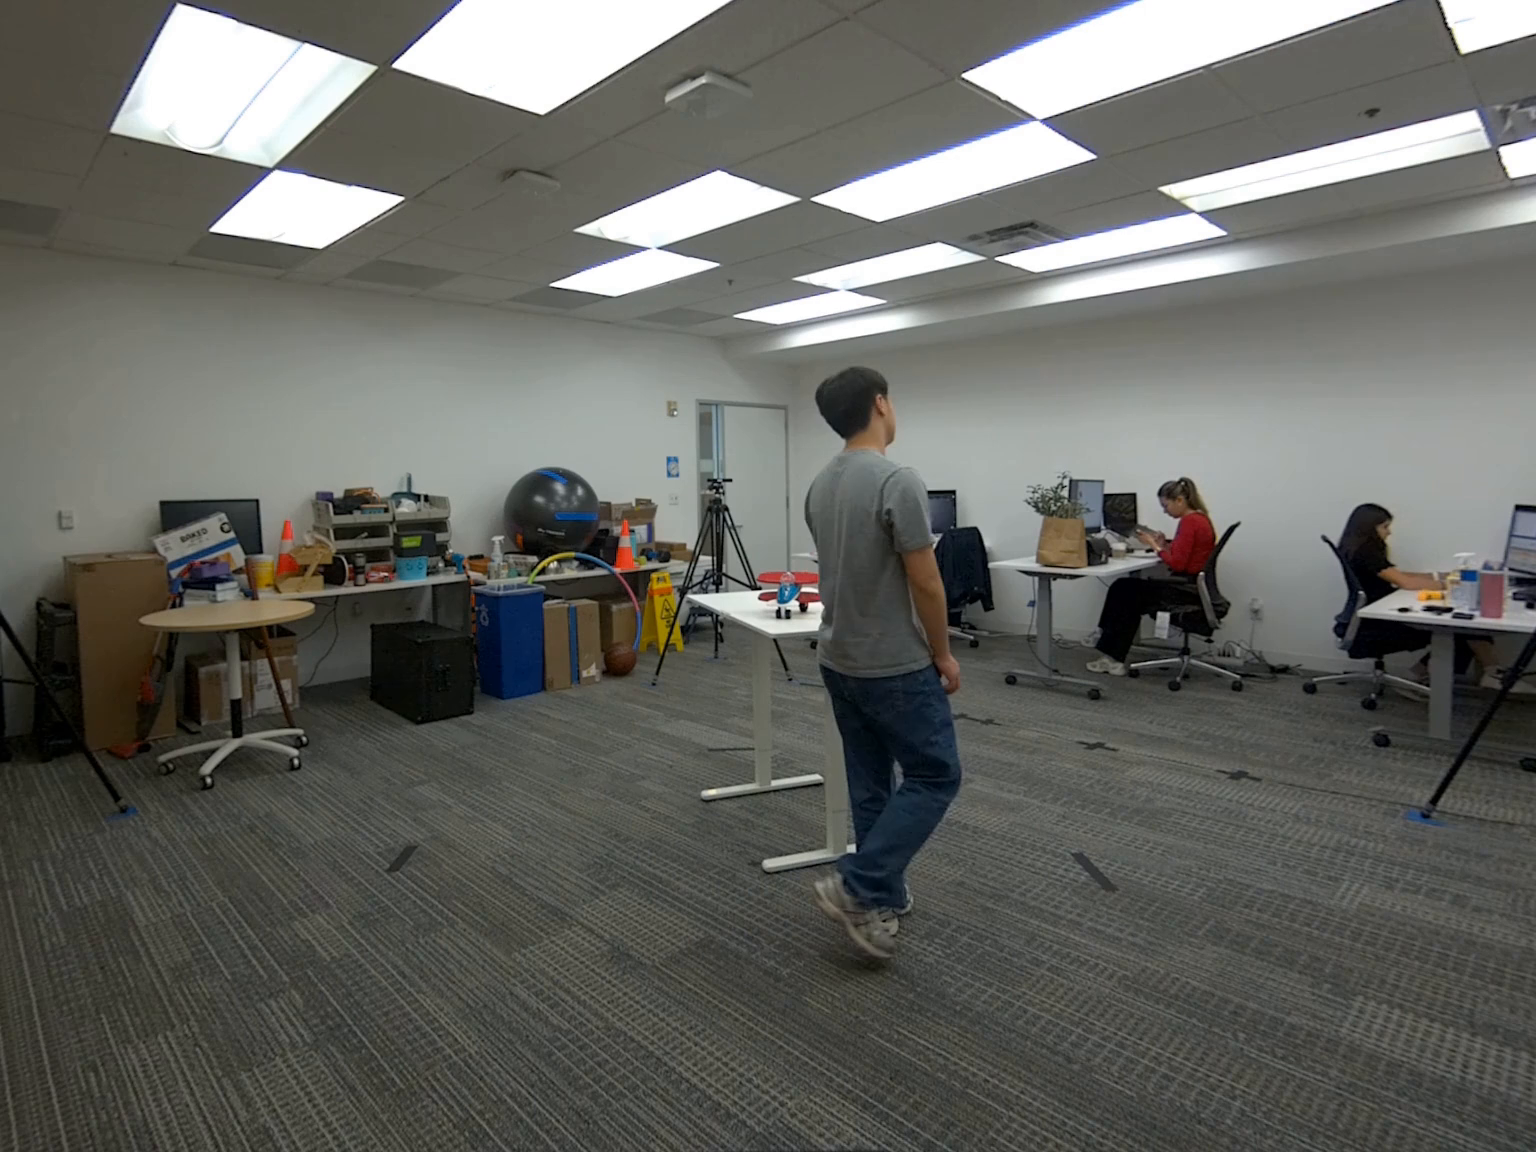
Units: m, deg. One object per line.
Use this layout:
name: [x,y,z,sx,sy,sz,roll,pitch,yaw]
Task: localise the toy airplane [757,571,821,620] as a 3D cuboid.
toy airplane: [0.102,0.067,3.232,0.247,0.156,0.264,-3,6,-17]
